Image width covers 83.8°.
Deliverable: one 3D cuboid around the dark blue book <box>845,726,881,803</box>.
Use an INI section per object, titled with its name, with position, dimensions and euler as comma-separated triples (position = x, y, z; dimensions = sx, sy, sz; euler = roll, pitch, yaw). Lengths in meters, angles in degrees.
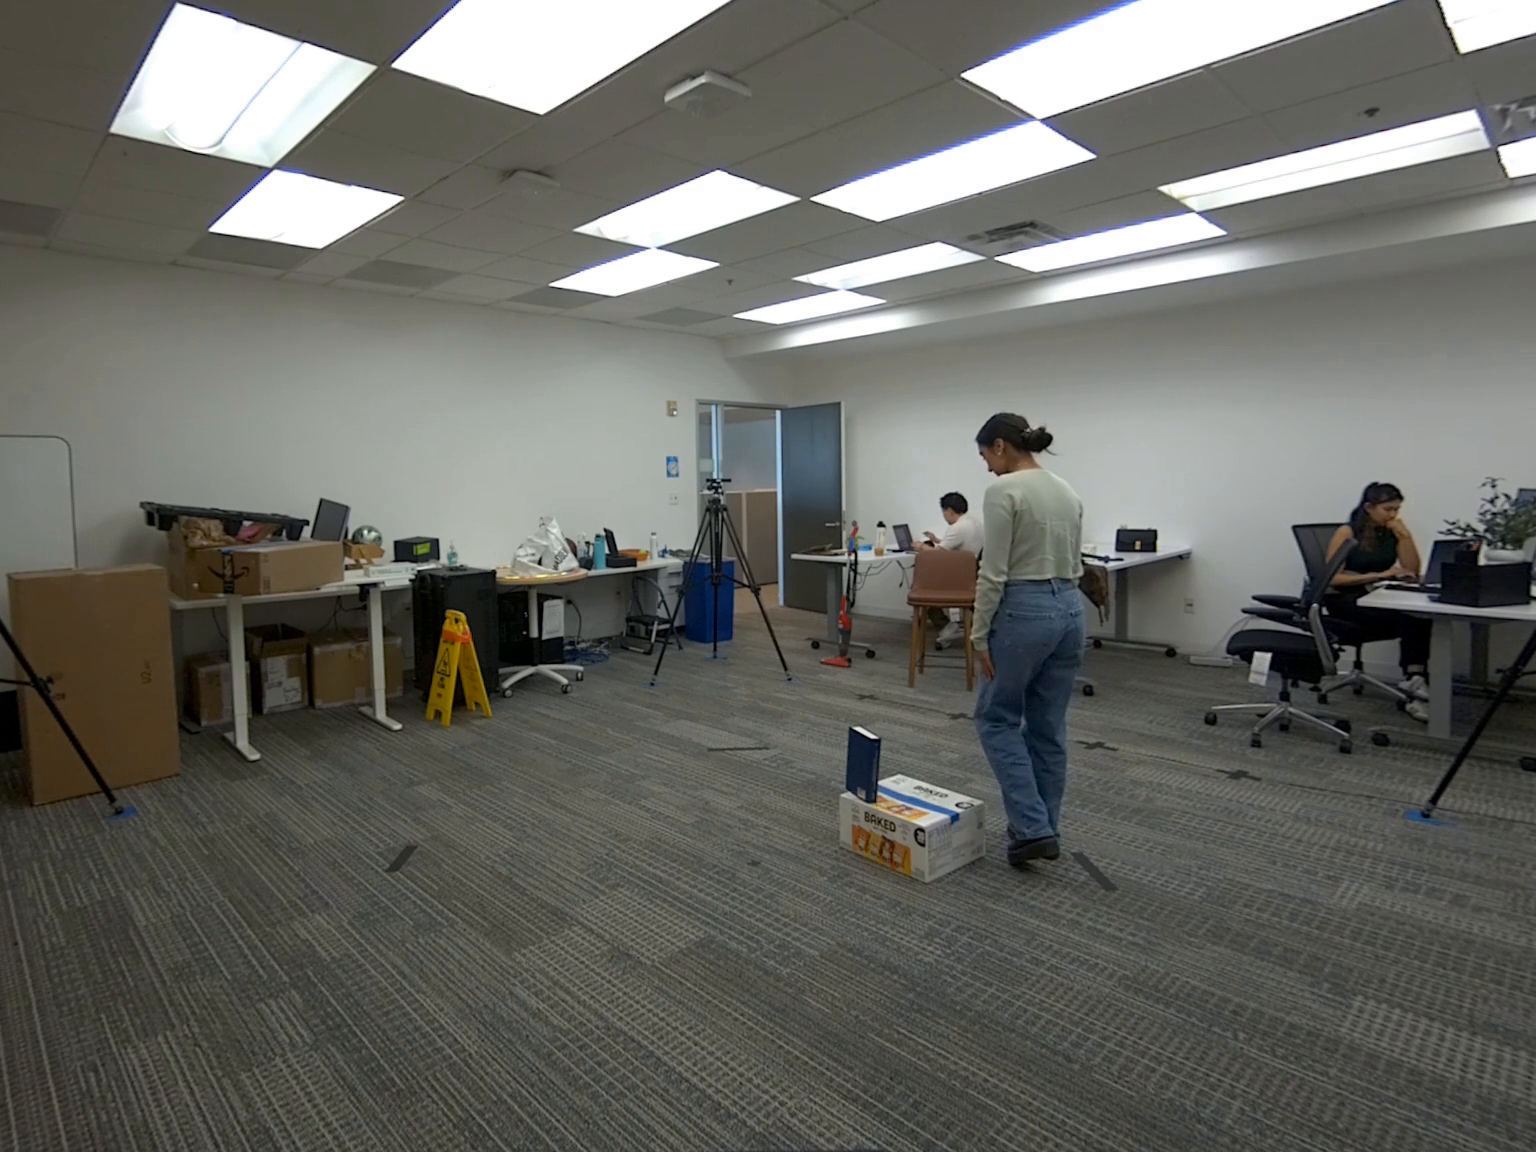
[dark blue book]
position = 0.363, 0.705, 3.204
dimensions = 0.044, 0.244, 0.167
euler = 0, 5, -24
